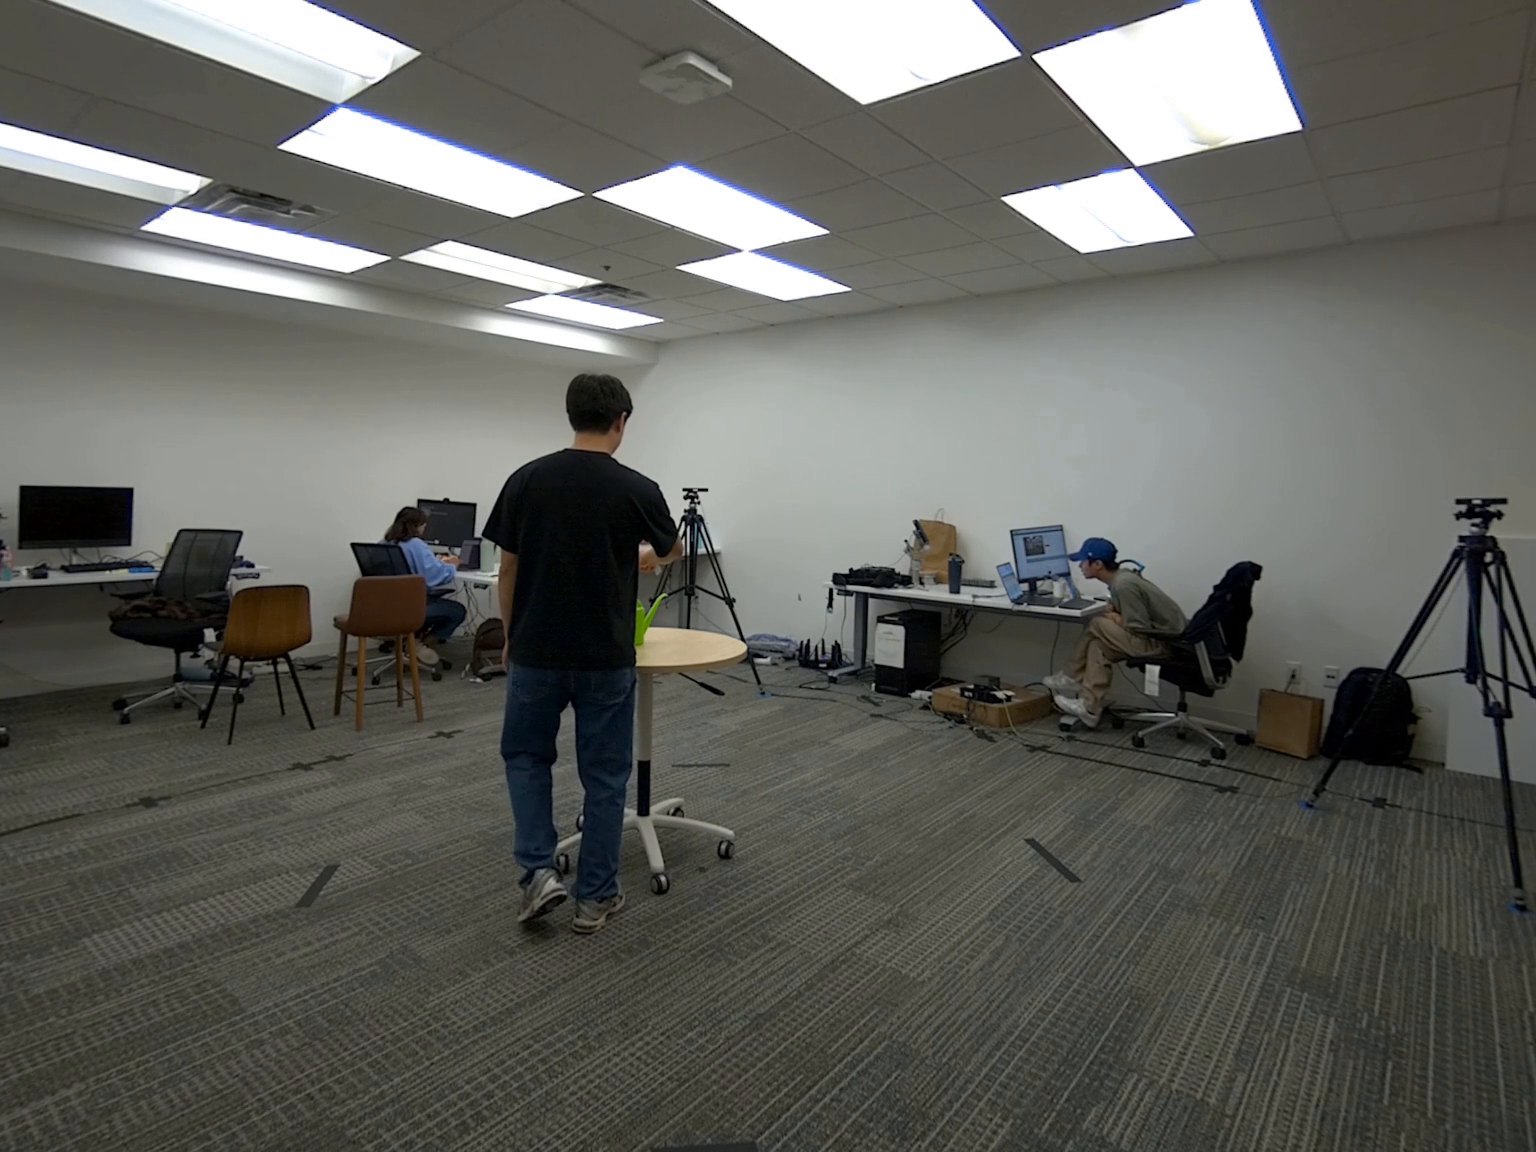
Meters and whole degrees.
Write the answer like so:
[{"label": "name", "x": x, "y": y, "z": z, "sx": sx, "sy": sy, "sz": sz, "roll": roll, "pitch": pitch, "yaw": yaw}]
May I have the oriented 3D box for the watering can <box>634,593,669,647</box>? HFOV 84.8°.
[{"label": "watering can", "x": -0.503, "y": 0.167, "z": 3.248, "sx": 0.271, "sy": 0.176, "sz": 0.101, "roll": -3, "pitch": 8, "yaw": -31}]
